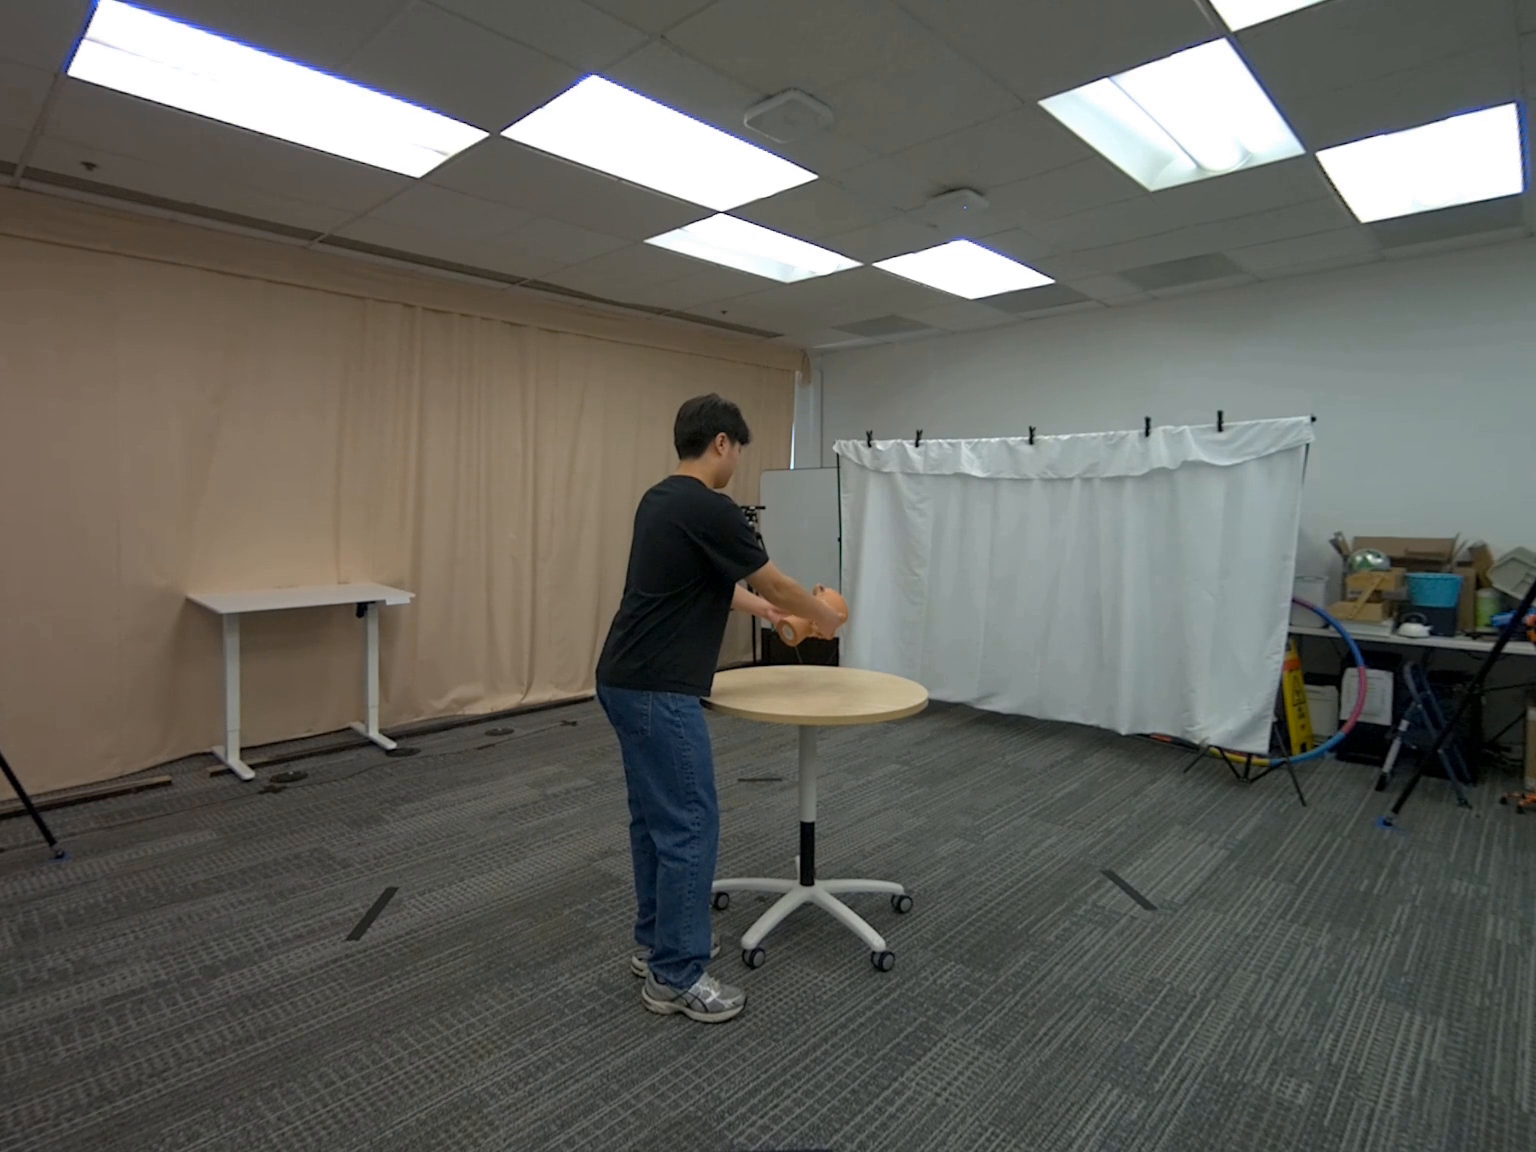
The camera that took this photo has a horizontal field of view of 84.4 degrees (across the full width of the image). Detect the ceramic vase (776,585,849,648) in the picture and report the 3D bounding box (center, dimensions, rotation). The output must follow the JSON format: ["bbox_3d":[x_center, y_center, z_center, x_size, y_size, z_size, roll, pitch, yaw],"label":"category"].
[{"bbox_3d":[0.152,0.145,2.793,0.215,0.162,0.135,-26,-19,-33],"label":"ceramic vase"}]
